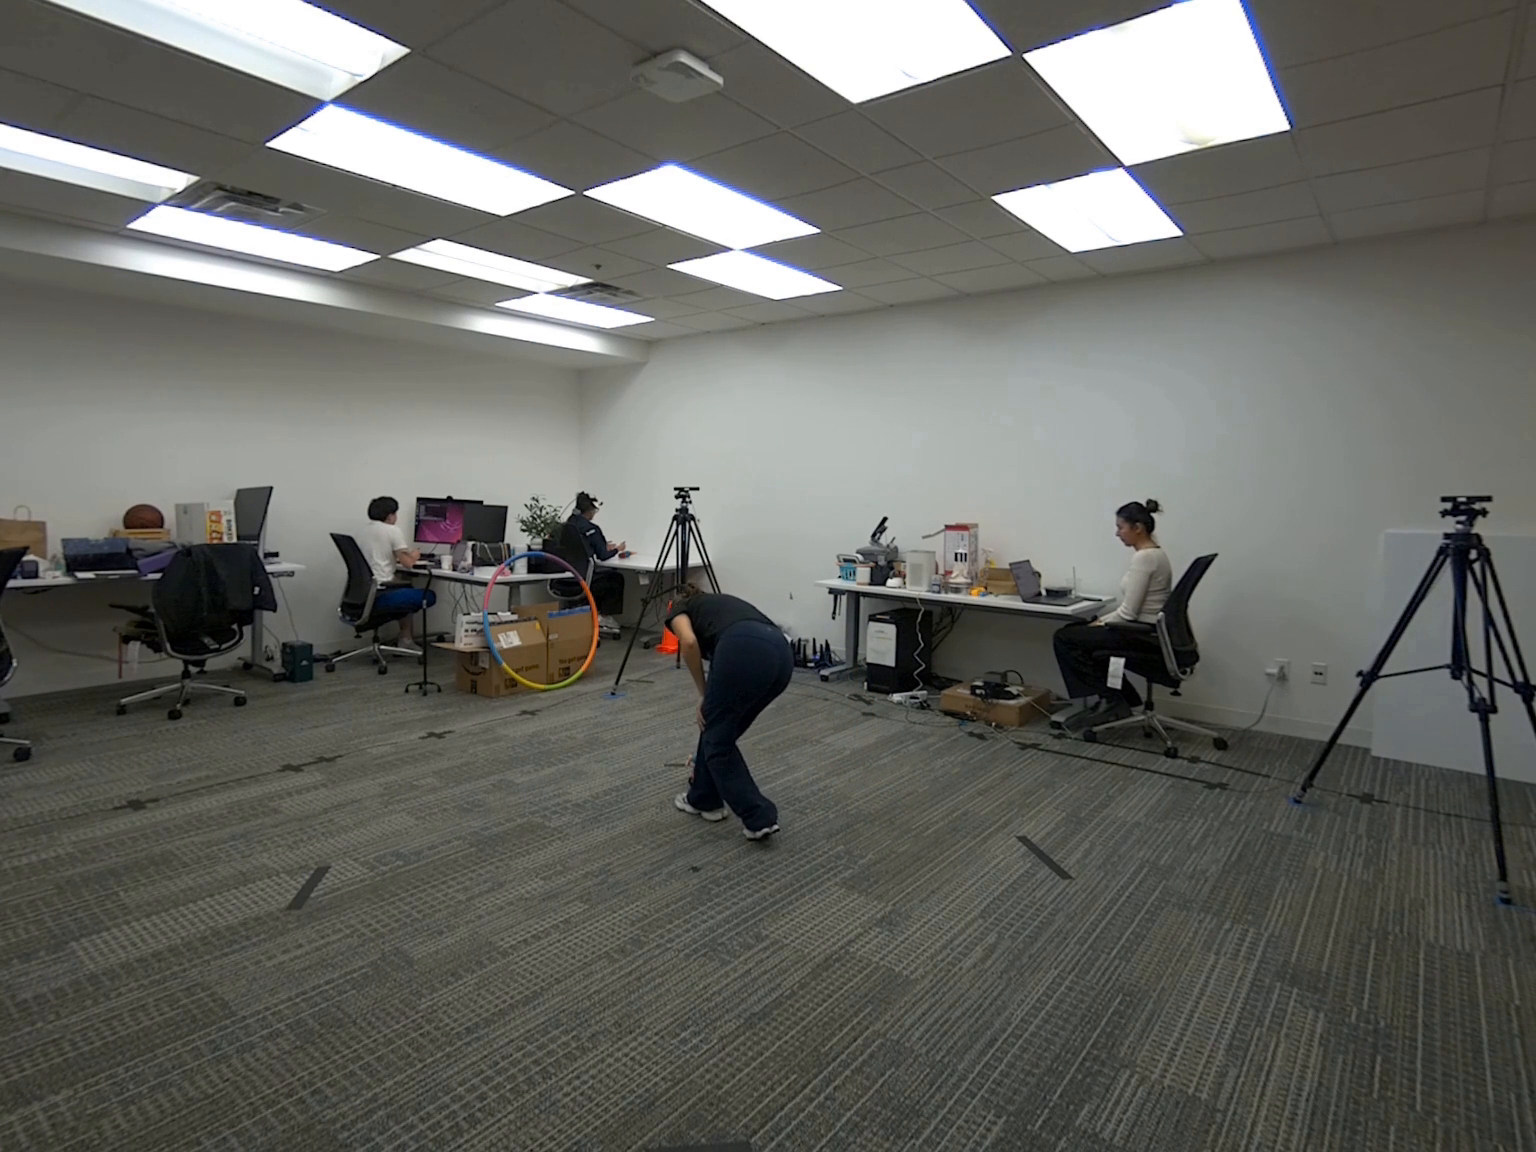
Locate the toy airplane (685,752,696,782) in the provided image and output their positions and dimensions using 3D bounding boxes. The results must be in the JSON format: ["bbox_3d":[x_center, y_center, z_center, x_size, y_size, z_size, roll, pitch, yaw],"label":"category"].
[{"bbox_3d":[-0.208,0.896,4.023,0.255,0.156,0.256,-2,6,-16],"label":"toy airplane"}]
